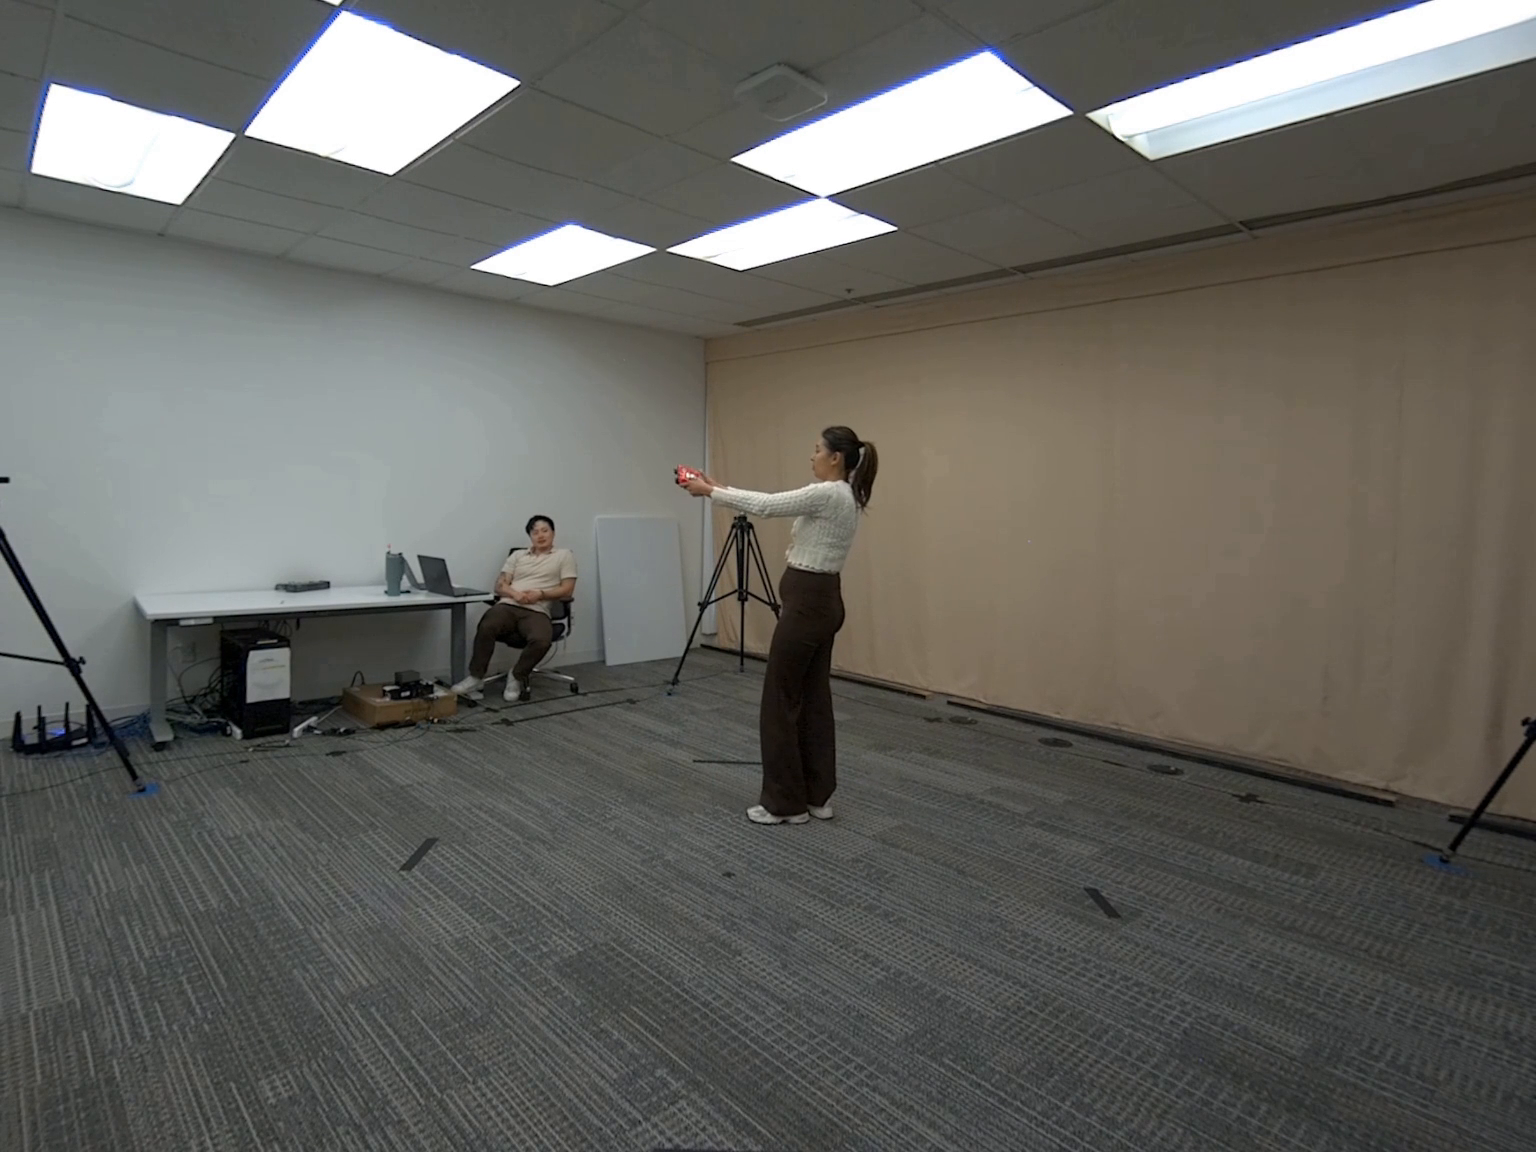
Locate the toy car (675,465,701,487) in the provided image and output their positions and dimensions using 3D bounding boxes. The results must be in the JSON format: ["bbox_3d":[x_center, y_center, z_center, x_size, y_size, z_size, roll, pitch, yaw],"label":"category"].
[{"bbox_3d":[-0.366,-0.448,3.845,0.128,0.083,0.259,21,9,-16],"label":"toy car"}]
